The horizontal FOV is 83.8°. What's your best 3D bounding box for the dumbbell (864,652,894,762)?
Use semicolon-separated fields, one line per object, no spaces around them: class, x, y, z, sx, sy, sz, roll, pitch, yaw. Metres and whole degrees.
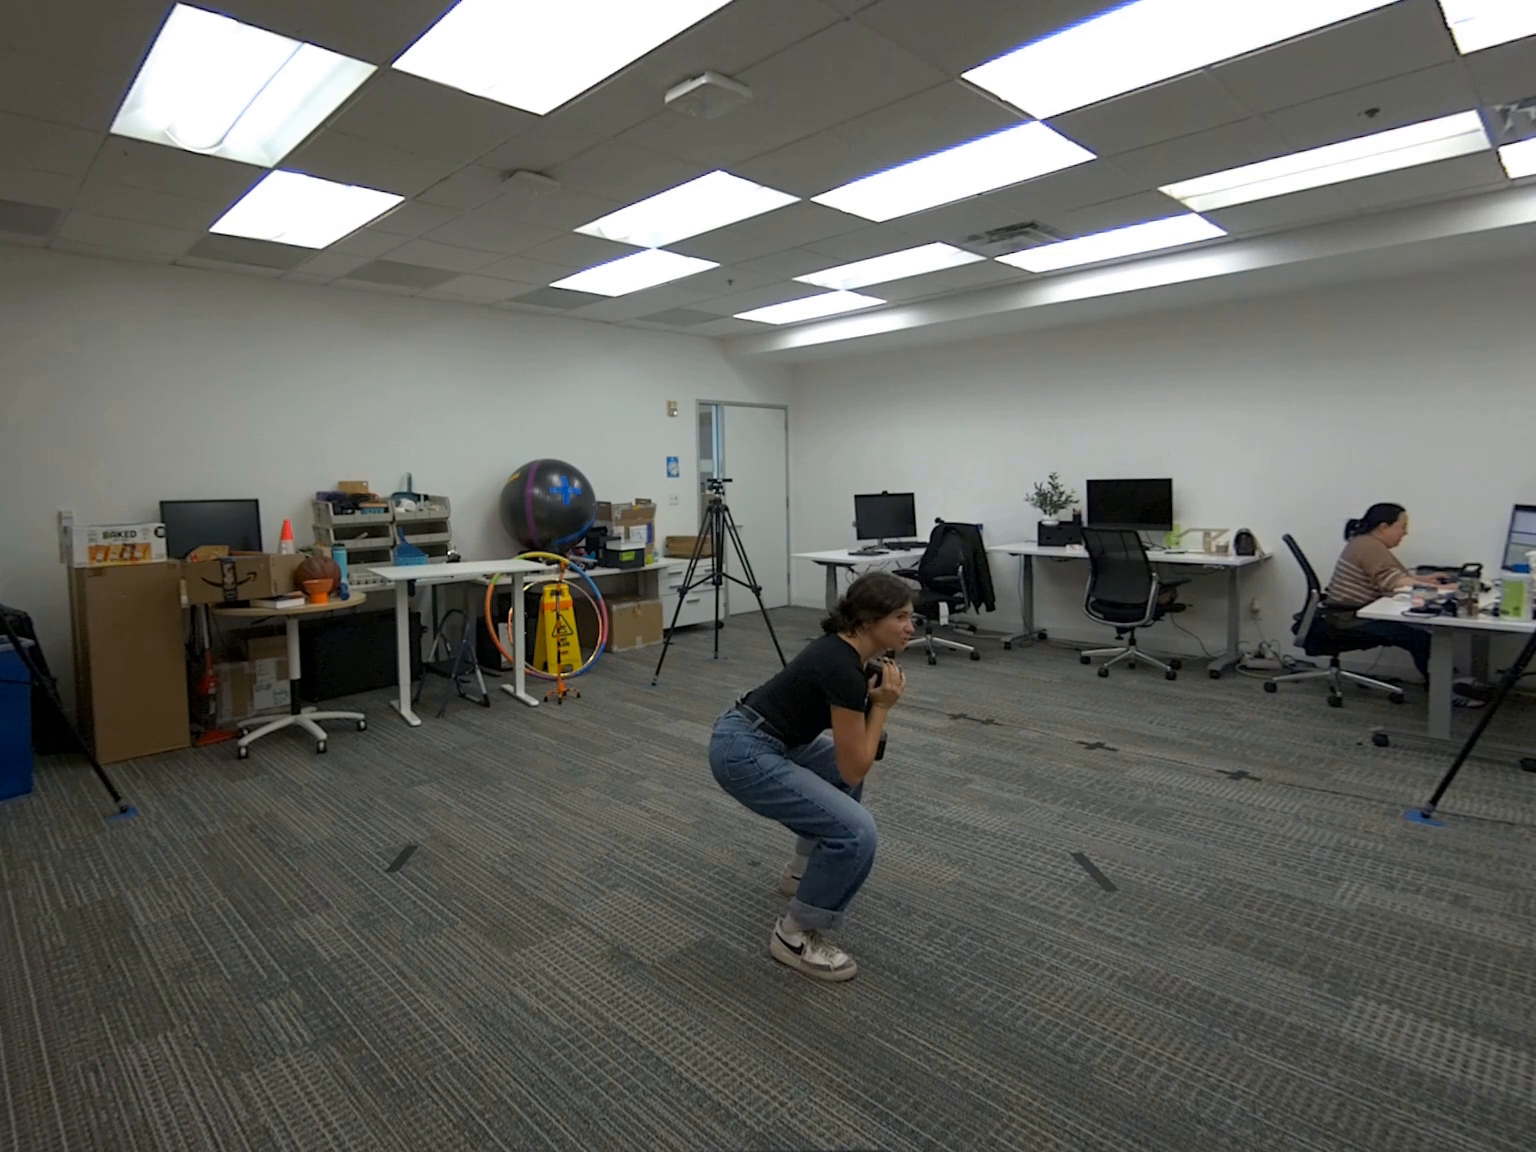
dumbbell;0.309;0.406;2.624;0.127;0.292;0.105;15;8;39
